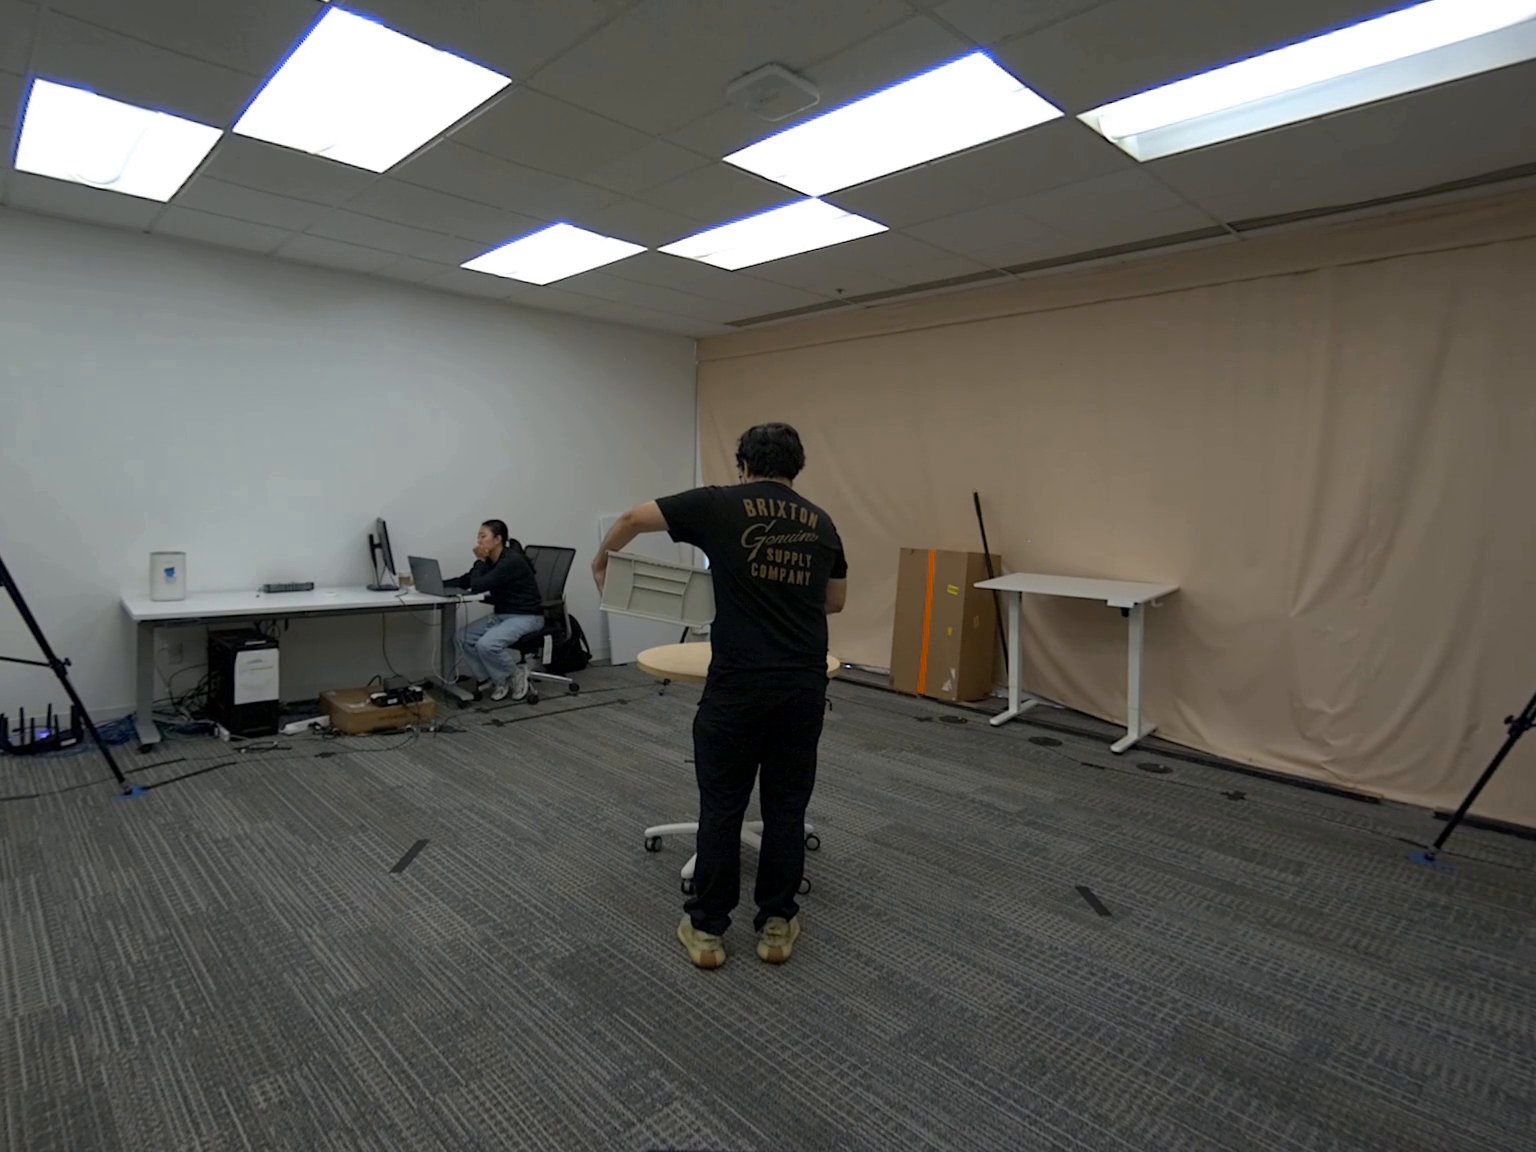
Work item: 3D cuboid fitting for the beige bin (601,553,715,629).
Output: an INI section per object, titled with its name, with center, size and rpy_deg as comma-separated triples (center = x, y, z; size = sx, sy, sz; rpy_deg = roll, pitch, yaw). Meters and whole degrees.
[beige bin]
center = -0.320, 0.049, 2.715
size = 0.378, 0.189, 0.422
rpy_deg = 11, 1, 0
